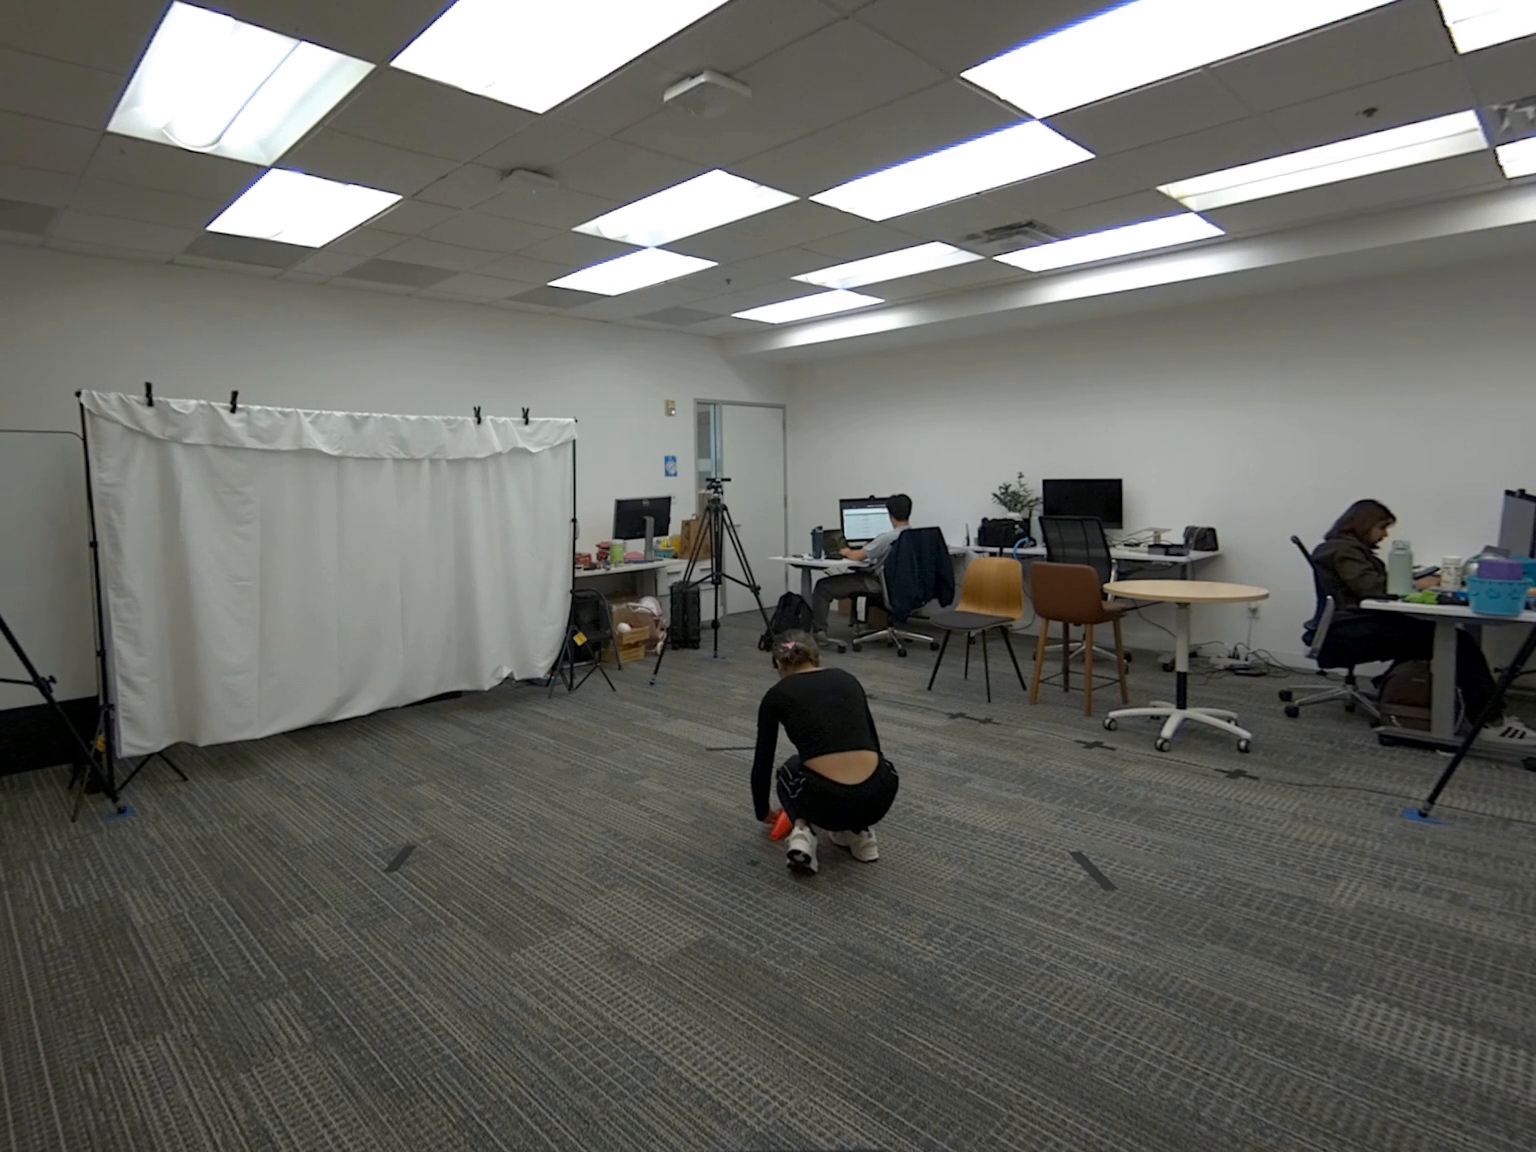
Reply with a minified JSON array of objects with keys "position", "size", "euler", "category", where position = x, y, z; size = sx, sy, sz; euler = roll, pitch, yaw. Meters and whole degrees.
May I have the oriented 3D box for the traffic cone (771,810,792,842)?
[{"position":[0.122,0.935,3.449],"size":[0.205,0.203,0.383],"euler":[-41,2,33],"category":"traffic cone"}]
